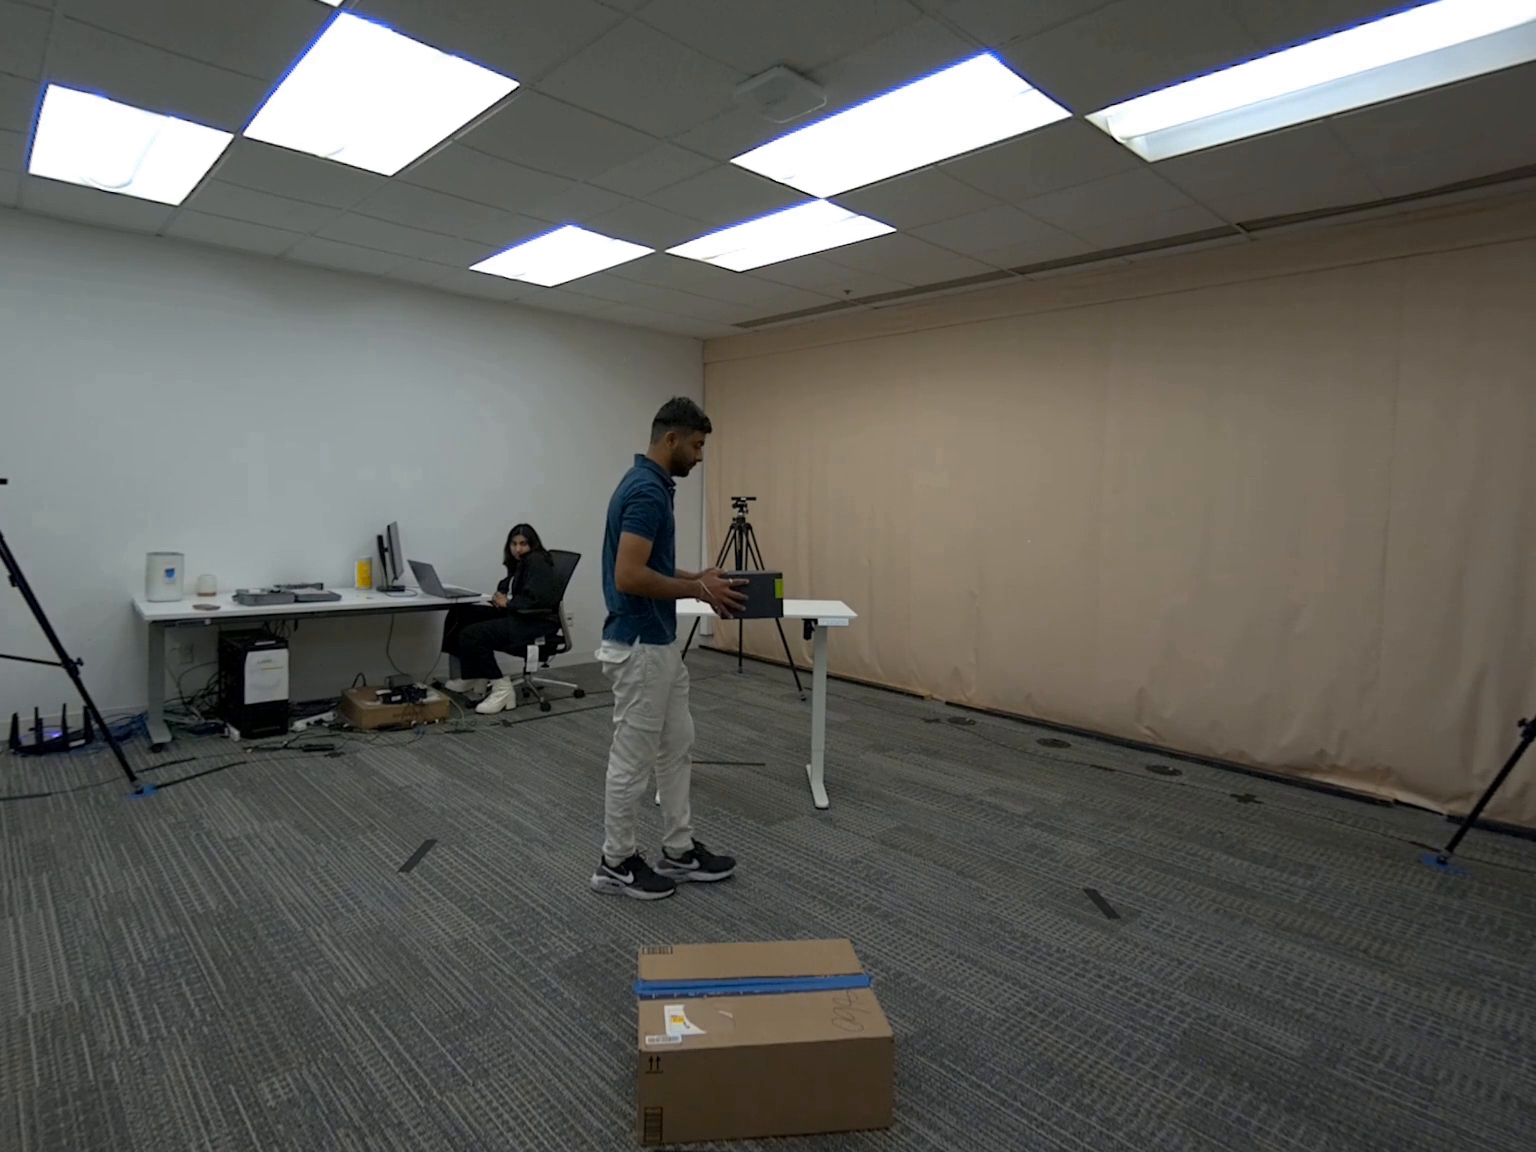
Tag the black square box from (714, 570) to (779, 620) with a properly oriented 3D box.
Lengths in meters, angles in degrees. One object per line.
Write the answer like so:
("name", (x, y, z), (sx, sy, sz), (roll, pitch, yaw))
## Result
("black square box", (-0.073, 0.063, 2.975), (0.217, 0.156, 0.228), (0, 2, 2))
